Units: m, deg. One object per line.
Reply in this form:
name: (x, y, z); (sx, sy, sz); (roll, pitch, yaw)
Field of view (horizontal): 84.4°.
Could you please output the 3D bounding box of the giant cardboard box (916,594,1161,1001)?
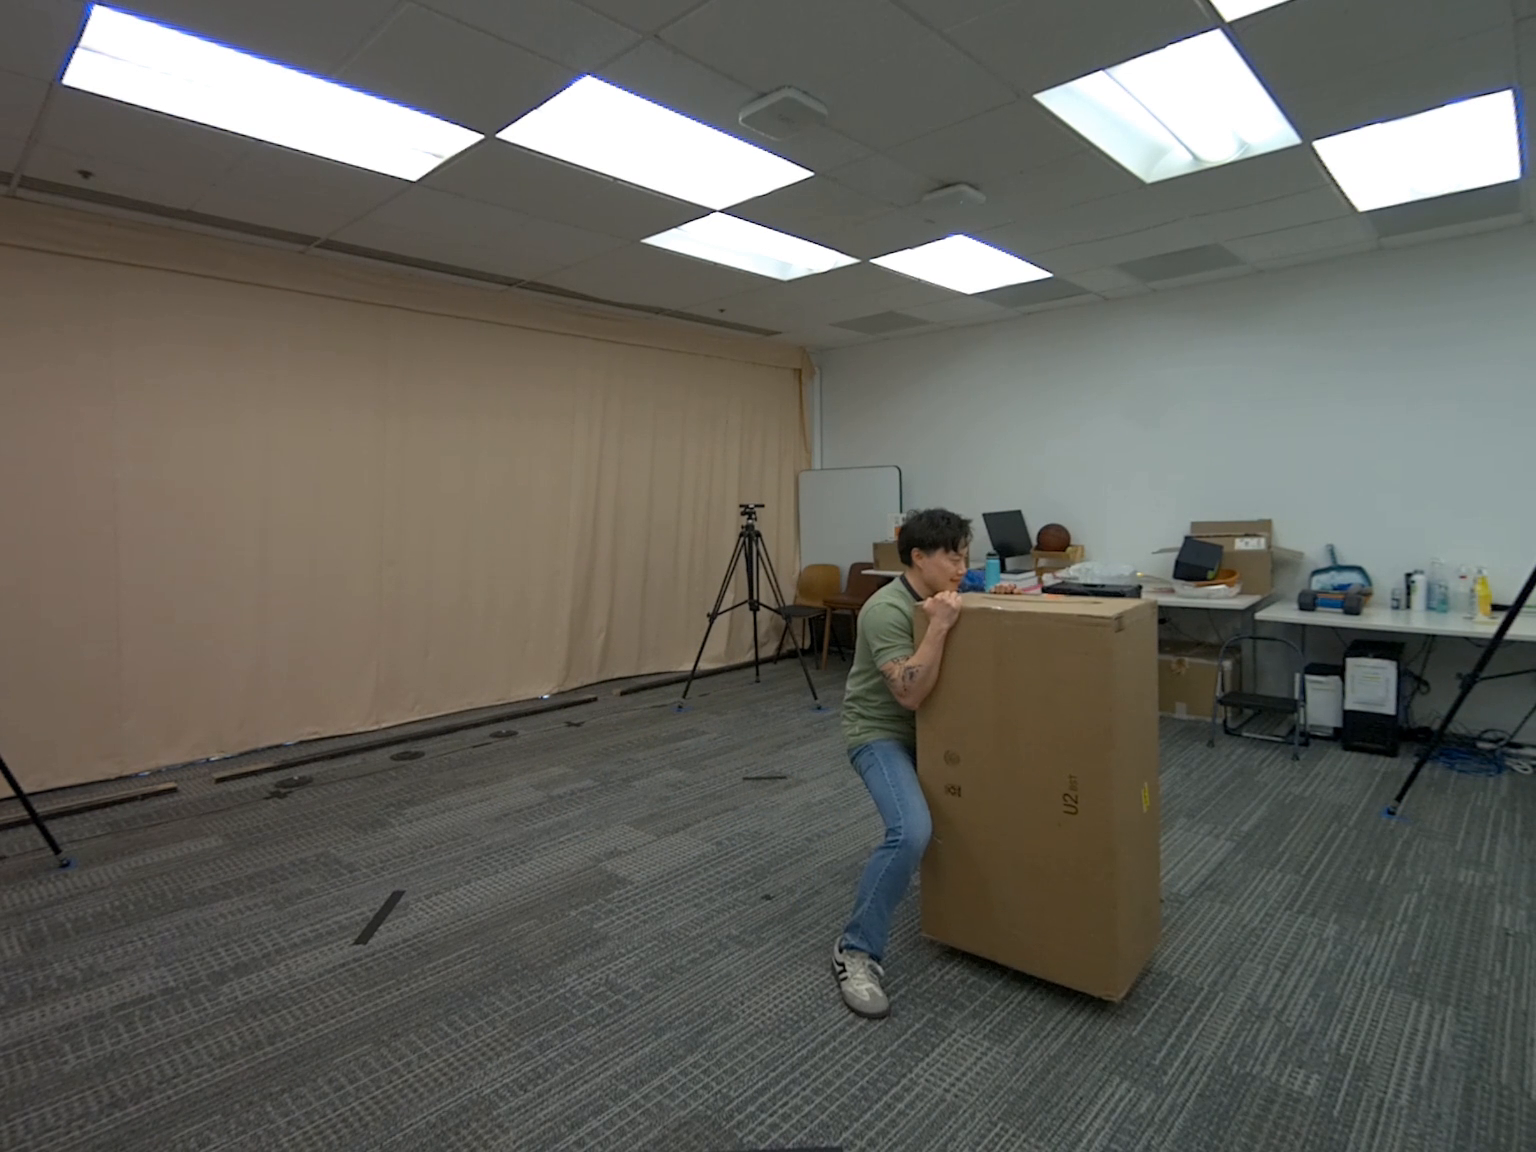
giant cardboard box: (0.821, 0.595, 2.520); (0.596, 1.024, 0.413); (1, 4, 40)
